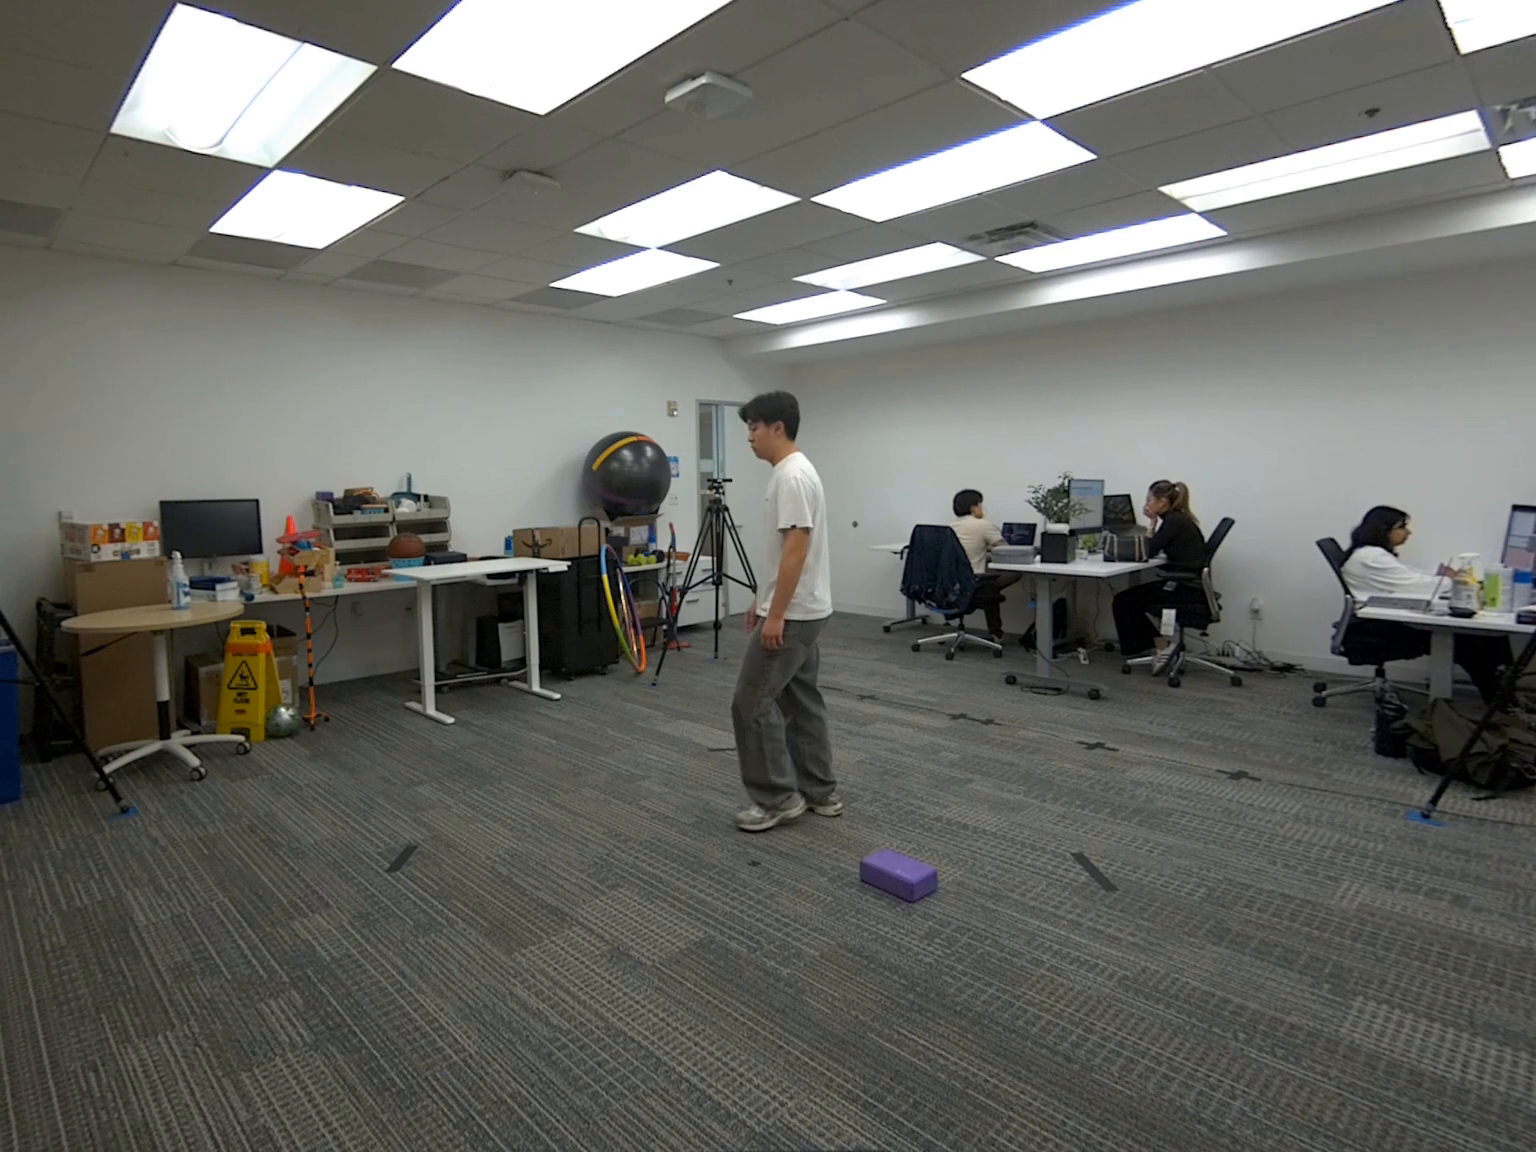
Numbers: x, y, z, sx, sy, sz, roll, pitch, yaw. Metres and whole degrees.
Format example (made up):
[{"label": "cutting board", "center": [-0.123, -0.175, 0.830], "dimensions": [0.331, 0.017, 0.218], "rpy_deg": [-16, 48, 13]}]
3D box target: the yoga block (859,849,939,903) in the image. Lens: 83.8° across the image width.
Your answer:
[{"label": "yoga block", "center": [0.449, 1.020, 2.922], "dimensions": [0.145, 0.076, 0.236], "rpy_deg": [-6, 8, -42]}]
